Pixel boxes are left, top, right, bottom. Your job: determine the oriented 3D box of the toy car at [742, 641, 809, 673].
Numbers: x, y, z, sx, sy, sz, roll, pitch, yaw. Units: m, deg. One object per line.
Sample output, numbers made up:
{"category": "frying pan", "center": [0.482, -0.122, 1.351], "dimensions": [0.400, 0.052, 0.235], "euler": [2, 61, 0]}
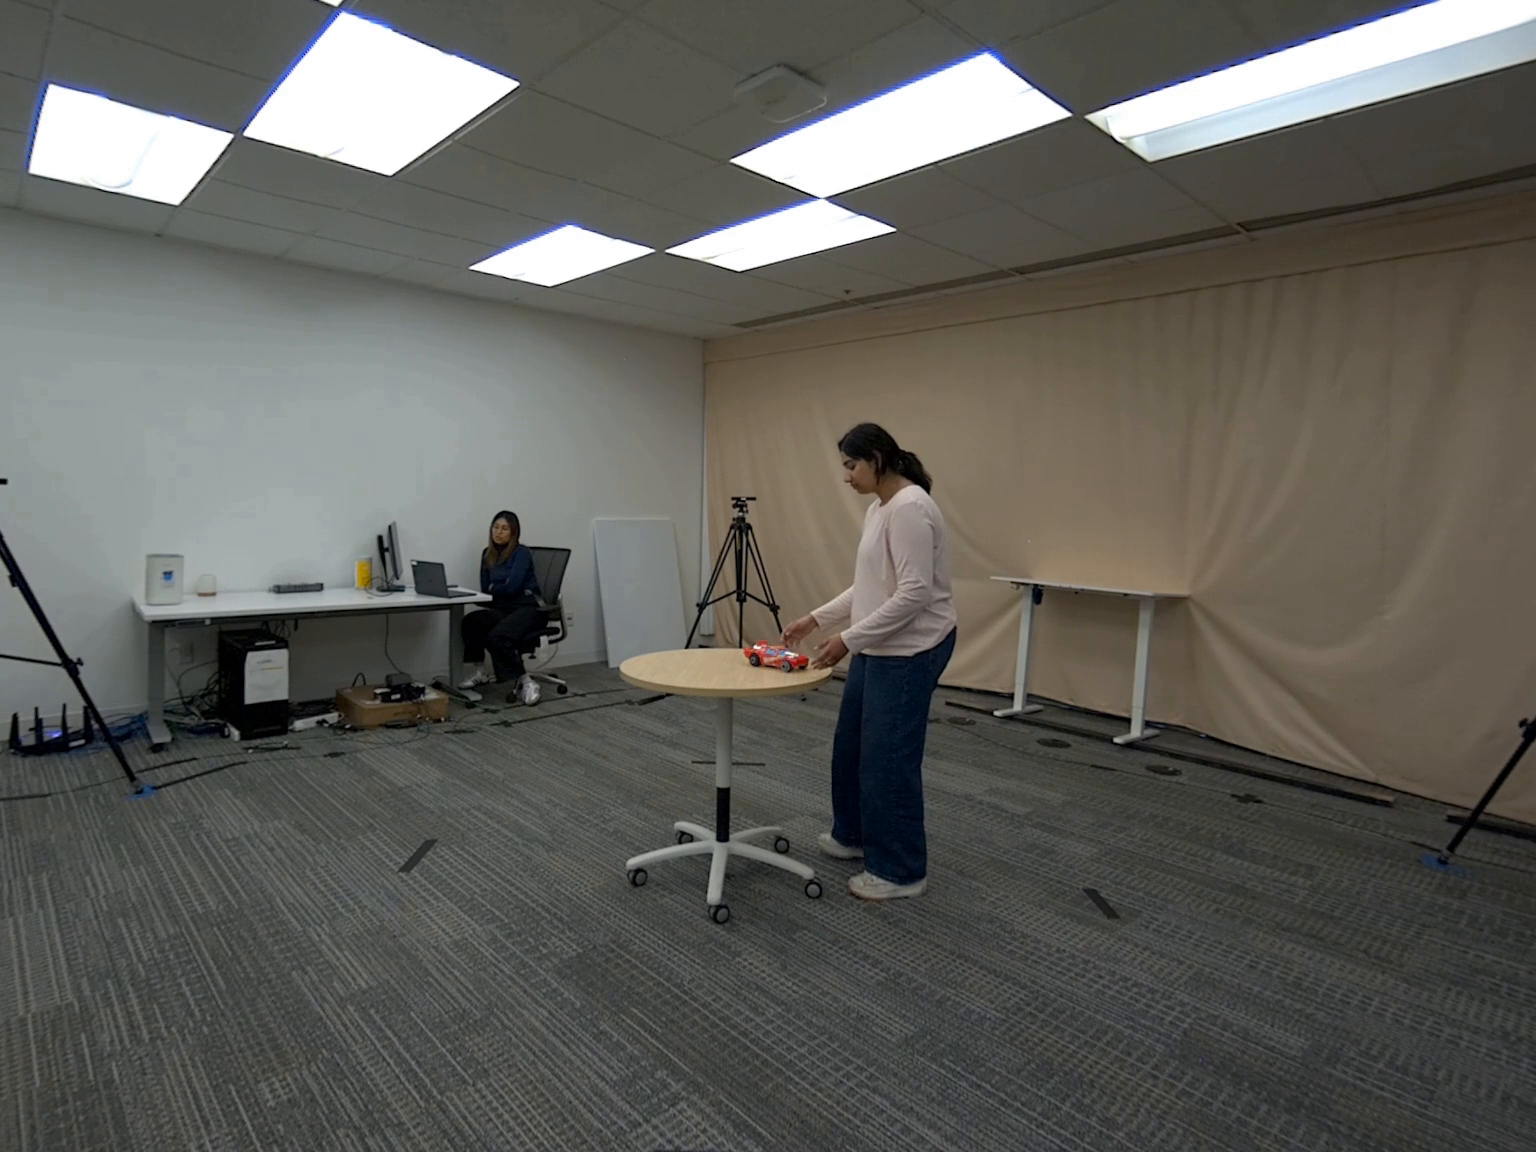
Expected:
{"category": "toy car", "center": [0.018, 0.296, 3.058], "dimensions": [0.262, 0.083, 0.127], "euler": [19, 14, 40]}
